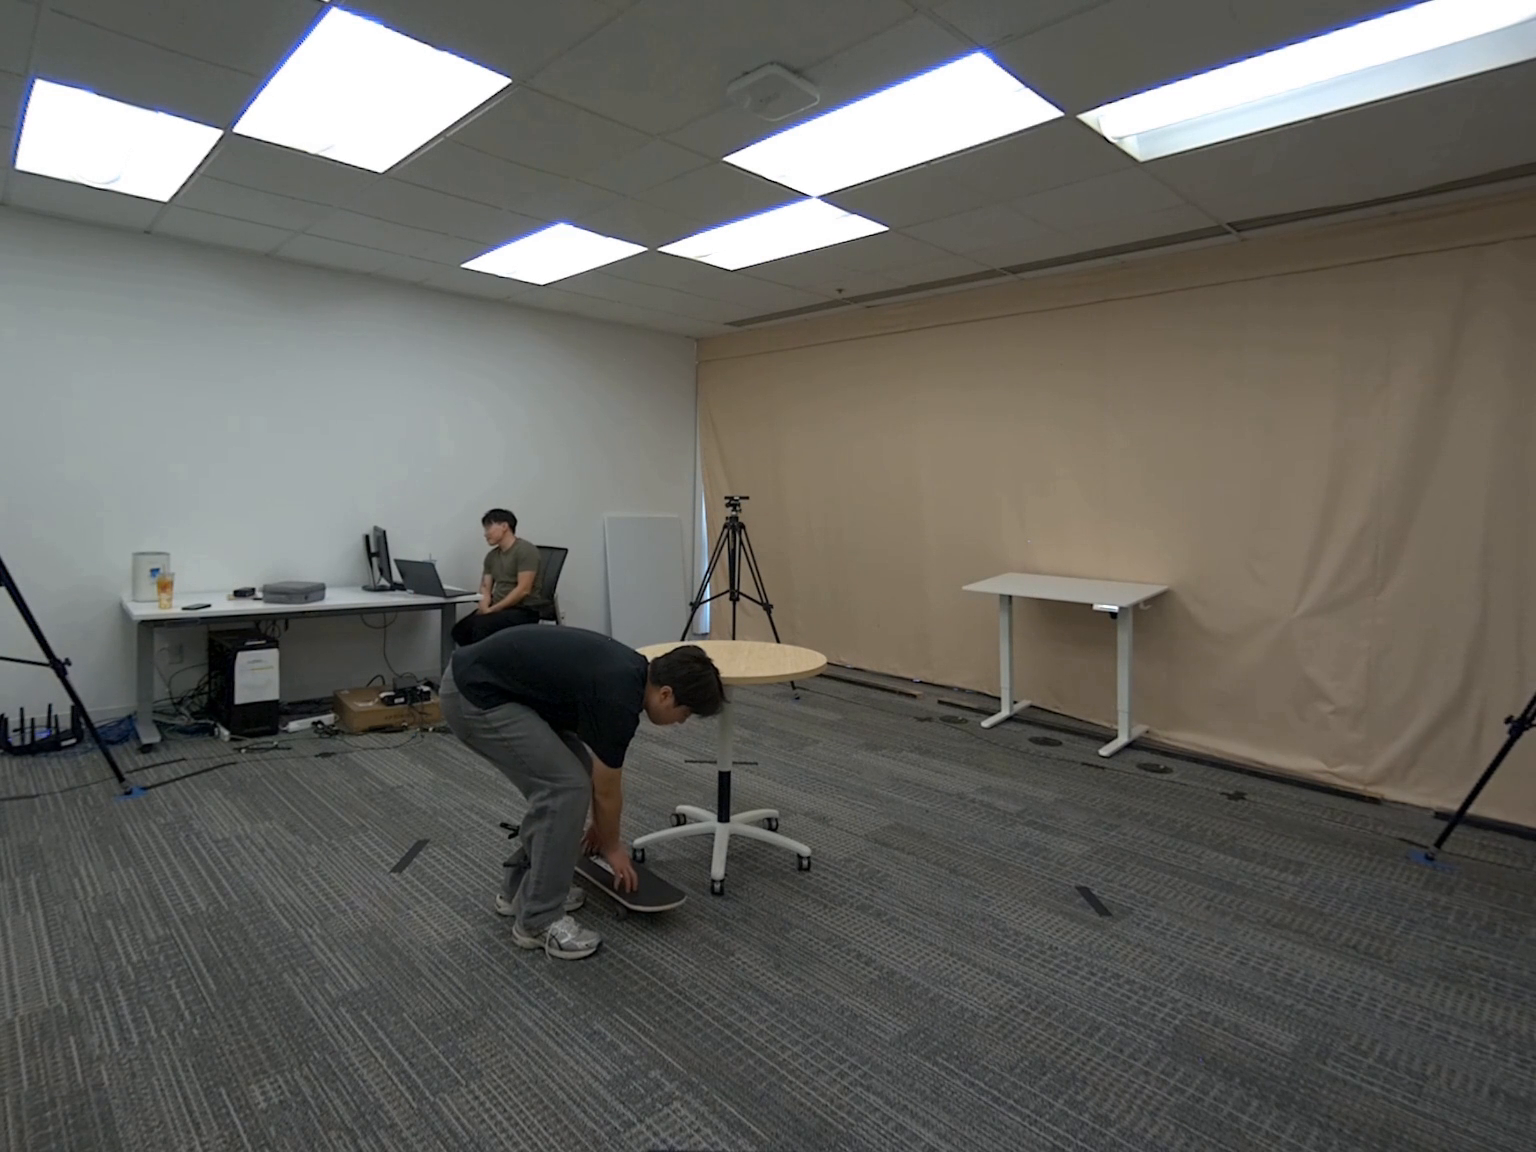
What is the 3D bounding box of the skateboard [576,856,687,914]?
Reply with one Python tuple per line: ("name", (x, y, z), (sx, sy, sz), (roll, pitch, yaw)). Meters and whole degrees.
("skateboard", (-0.569, 1.053, 2.950), (0.189, 0.110, 0.806), (-2, 6, -42))
